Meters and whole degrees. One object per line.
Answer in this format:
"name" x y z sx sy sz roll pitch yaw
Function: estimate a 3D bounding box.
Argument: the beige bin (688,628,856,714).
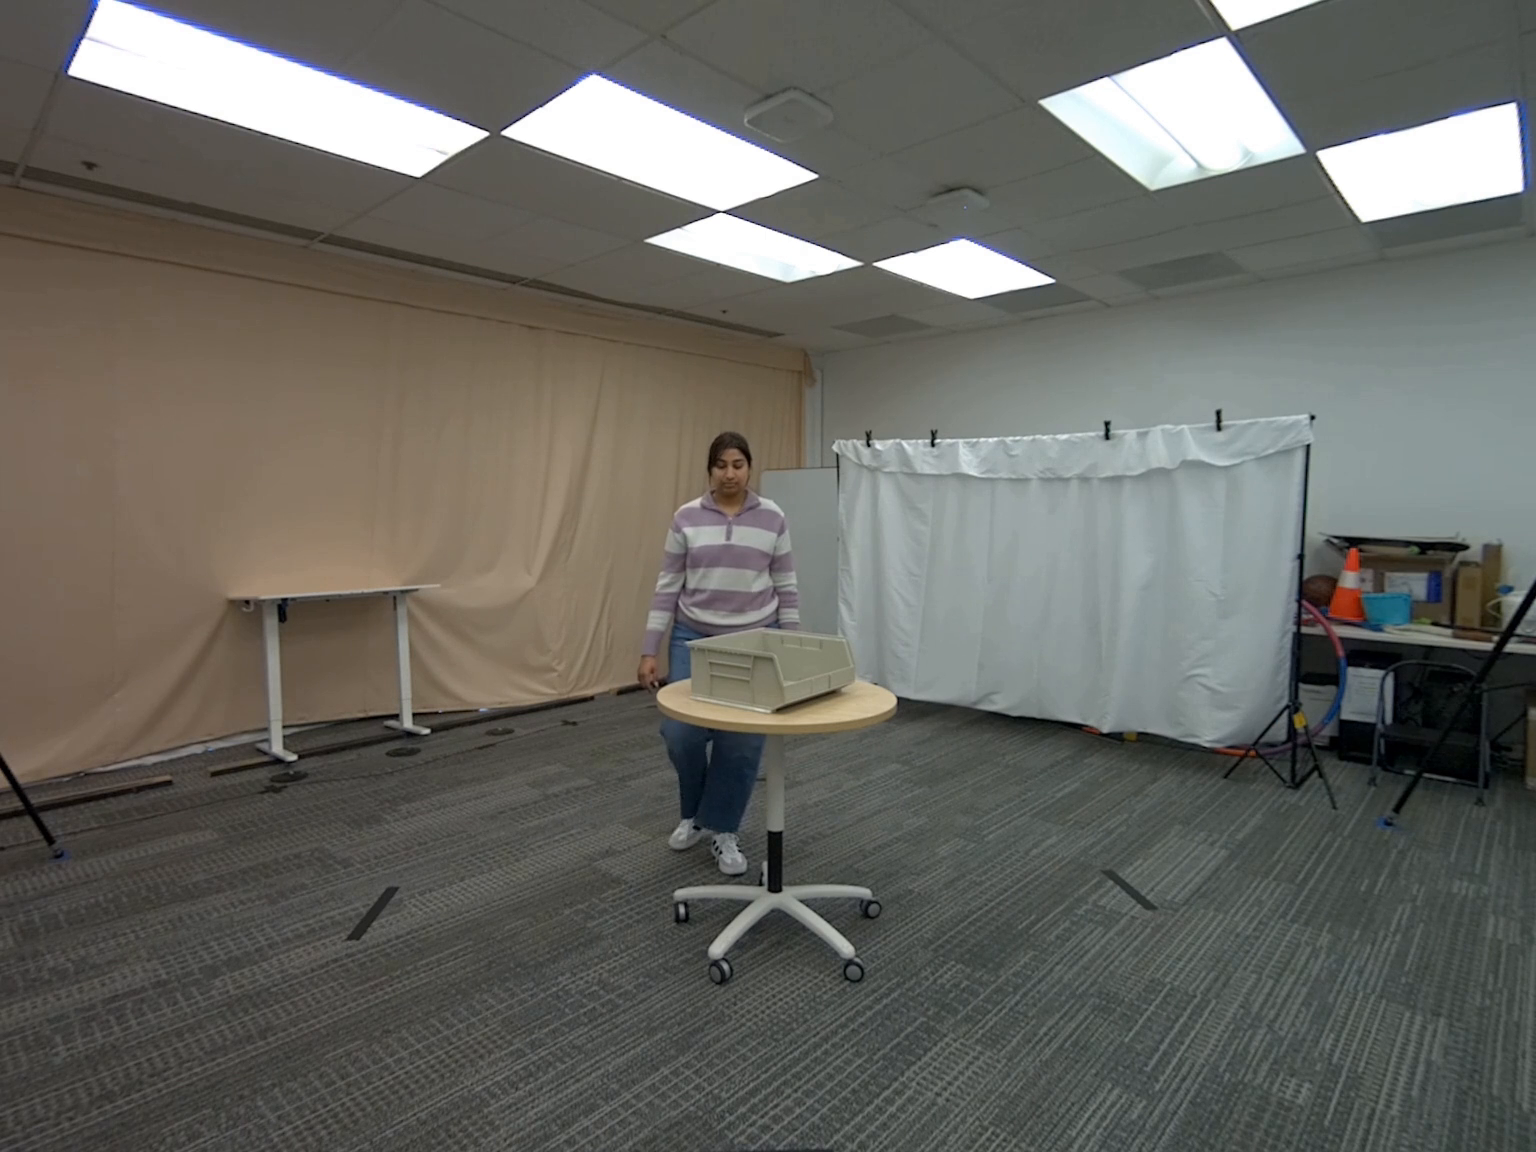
"beige bin" 0.012 0.293 2.690 0.389 0.188 0.410 1 4 37
